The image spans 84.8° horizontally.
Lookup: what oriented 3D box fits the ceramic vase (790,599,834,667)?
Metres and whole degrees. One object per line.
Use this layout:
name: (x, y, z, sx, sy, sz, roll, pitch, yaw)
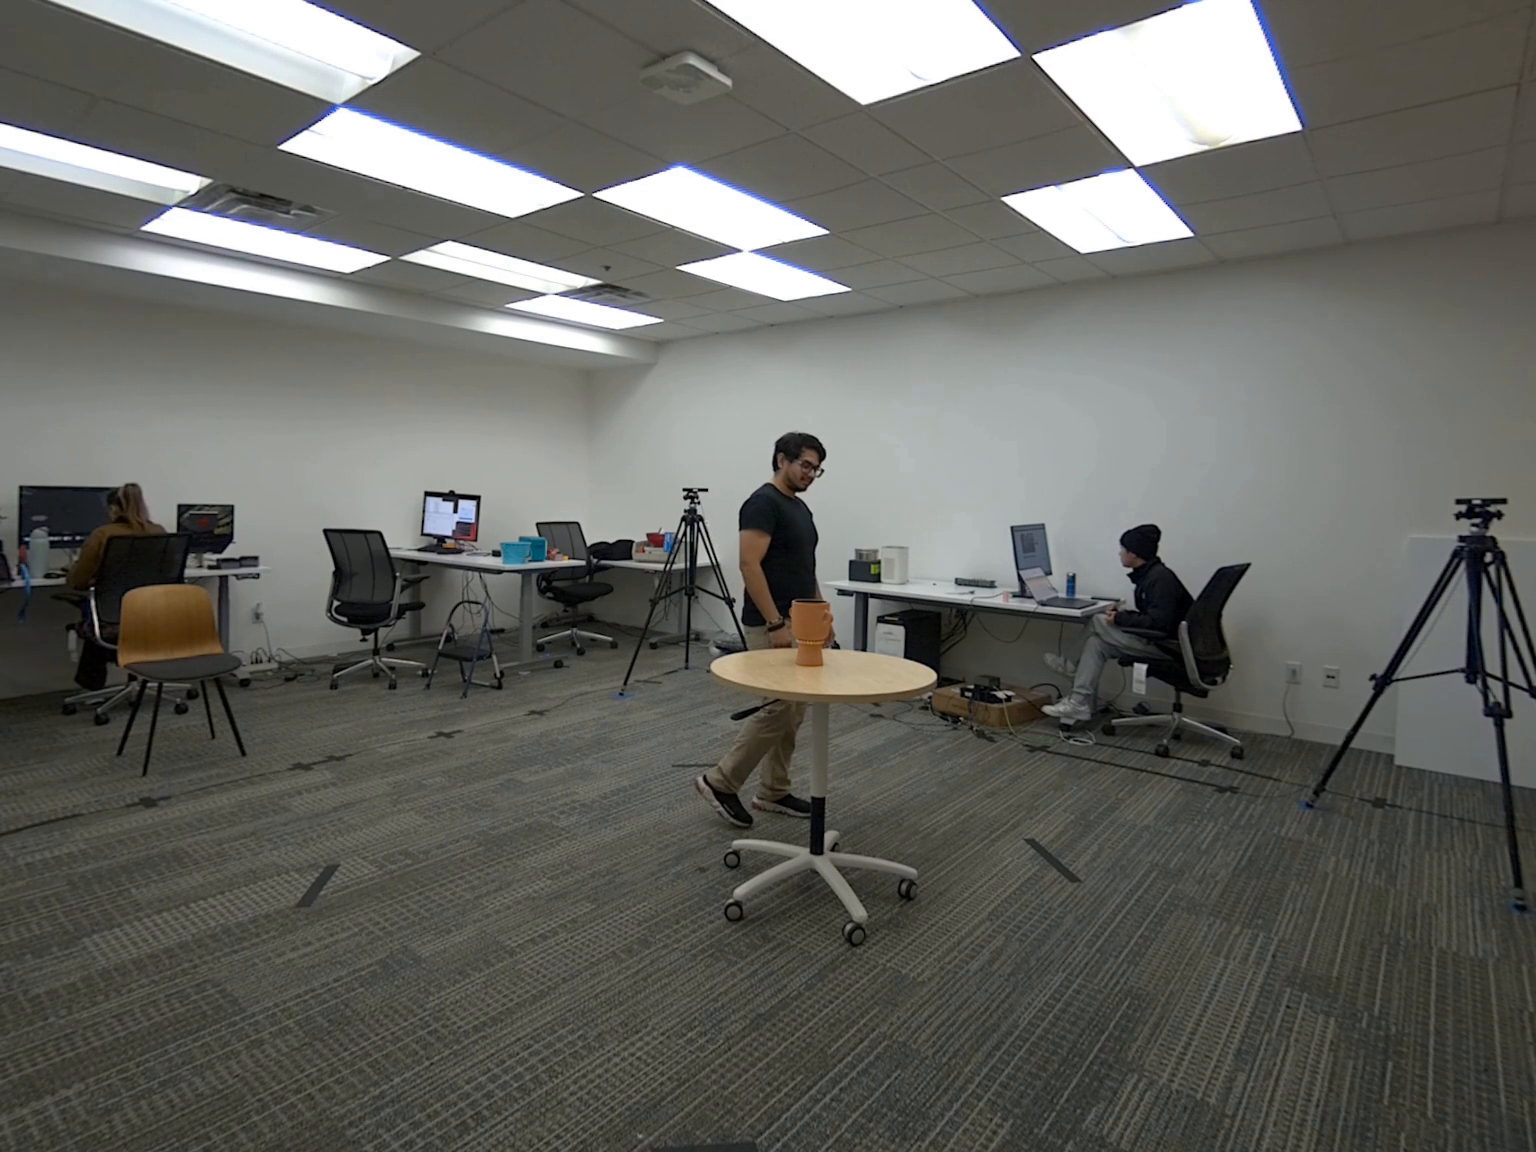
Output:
ceramic vase: (0.147, 0.201, 2.990, 0.134, 0.219, 0.160, 3, 3, -7)
